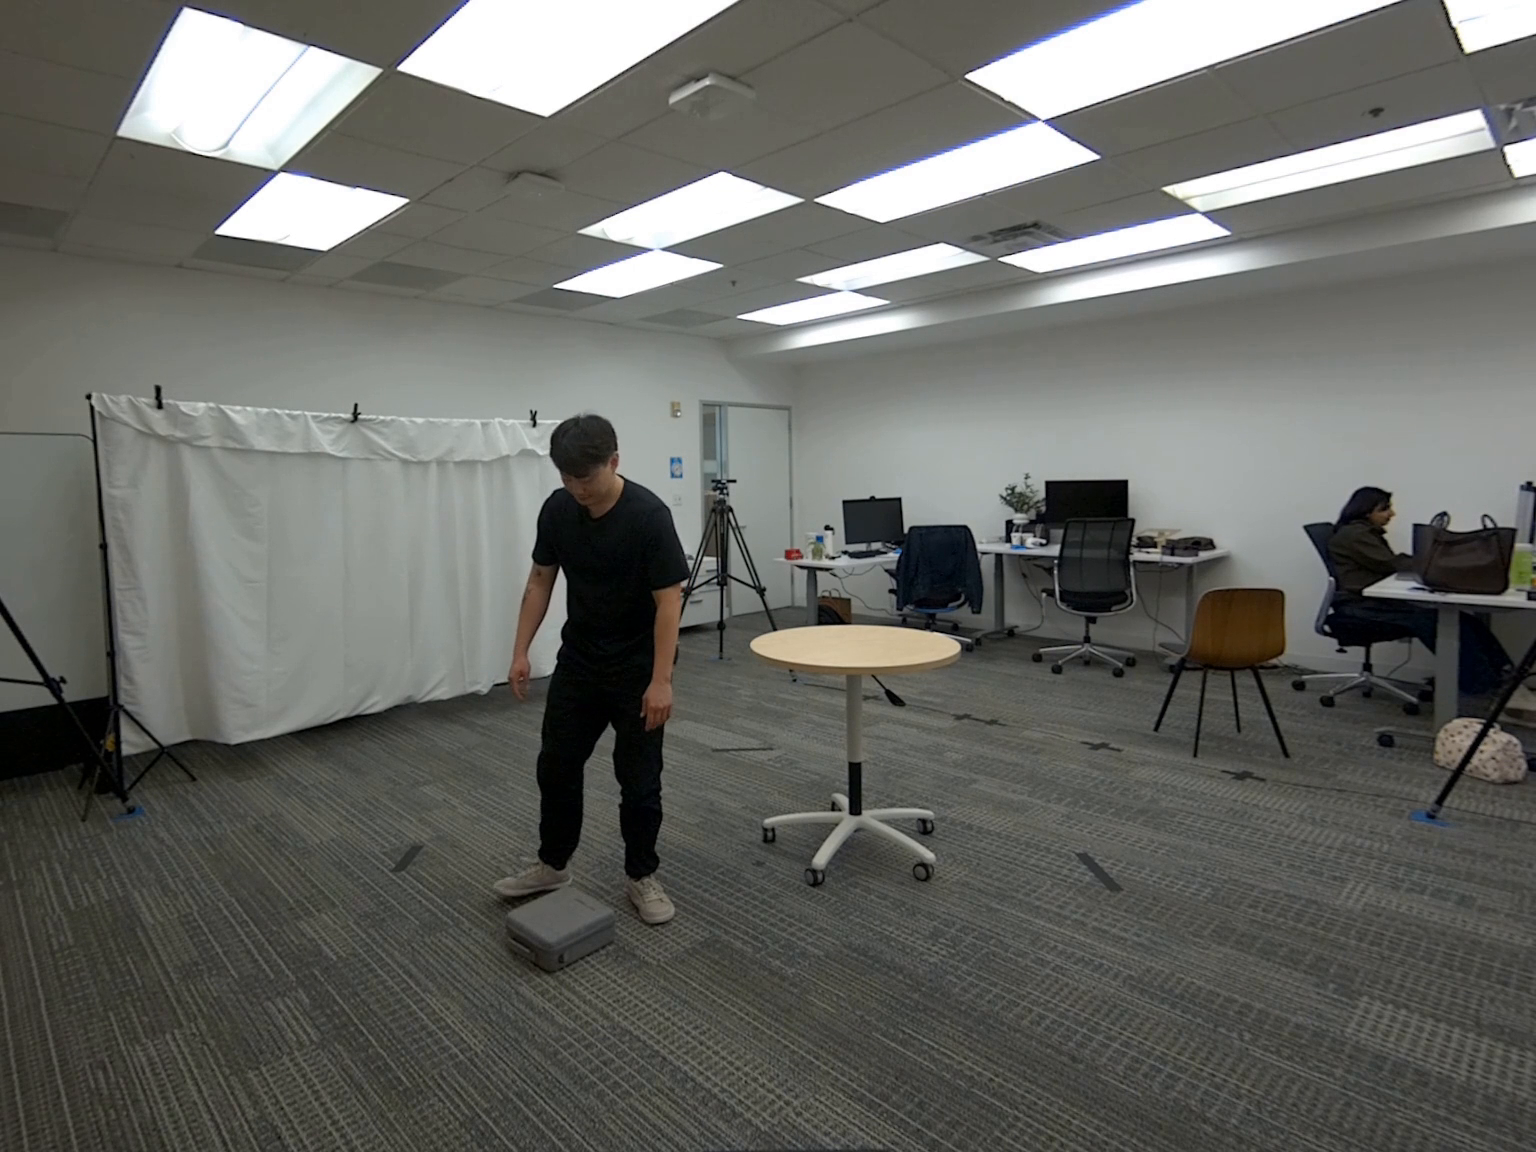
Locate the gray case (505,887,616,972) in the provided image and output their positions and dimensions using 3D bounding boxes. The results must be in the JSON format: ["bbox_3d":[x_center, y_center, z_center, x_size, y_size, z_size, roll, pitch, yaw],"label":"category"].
[{"bbox_3d":[-0.625,1.062,2.591,0.265,0.103,0.254,7,11,42],"label":"gray case"}]
